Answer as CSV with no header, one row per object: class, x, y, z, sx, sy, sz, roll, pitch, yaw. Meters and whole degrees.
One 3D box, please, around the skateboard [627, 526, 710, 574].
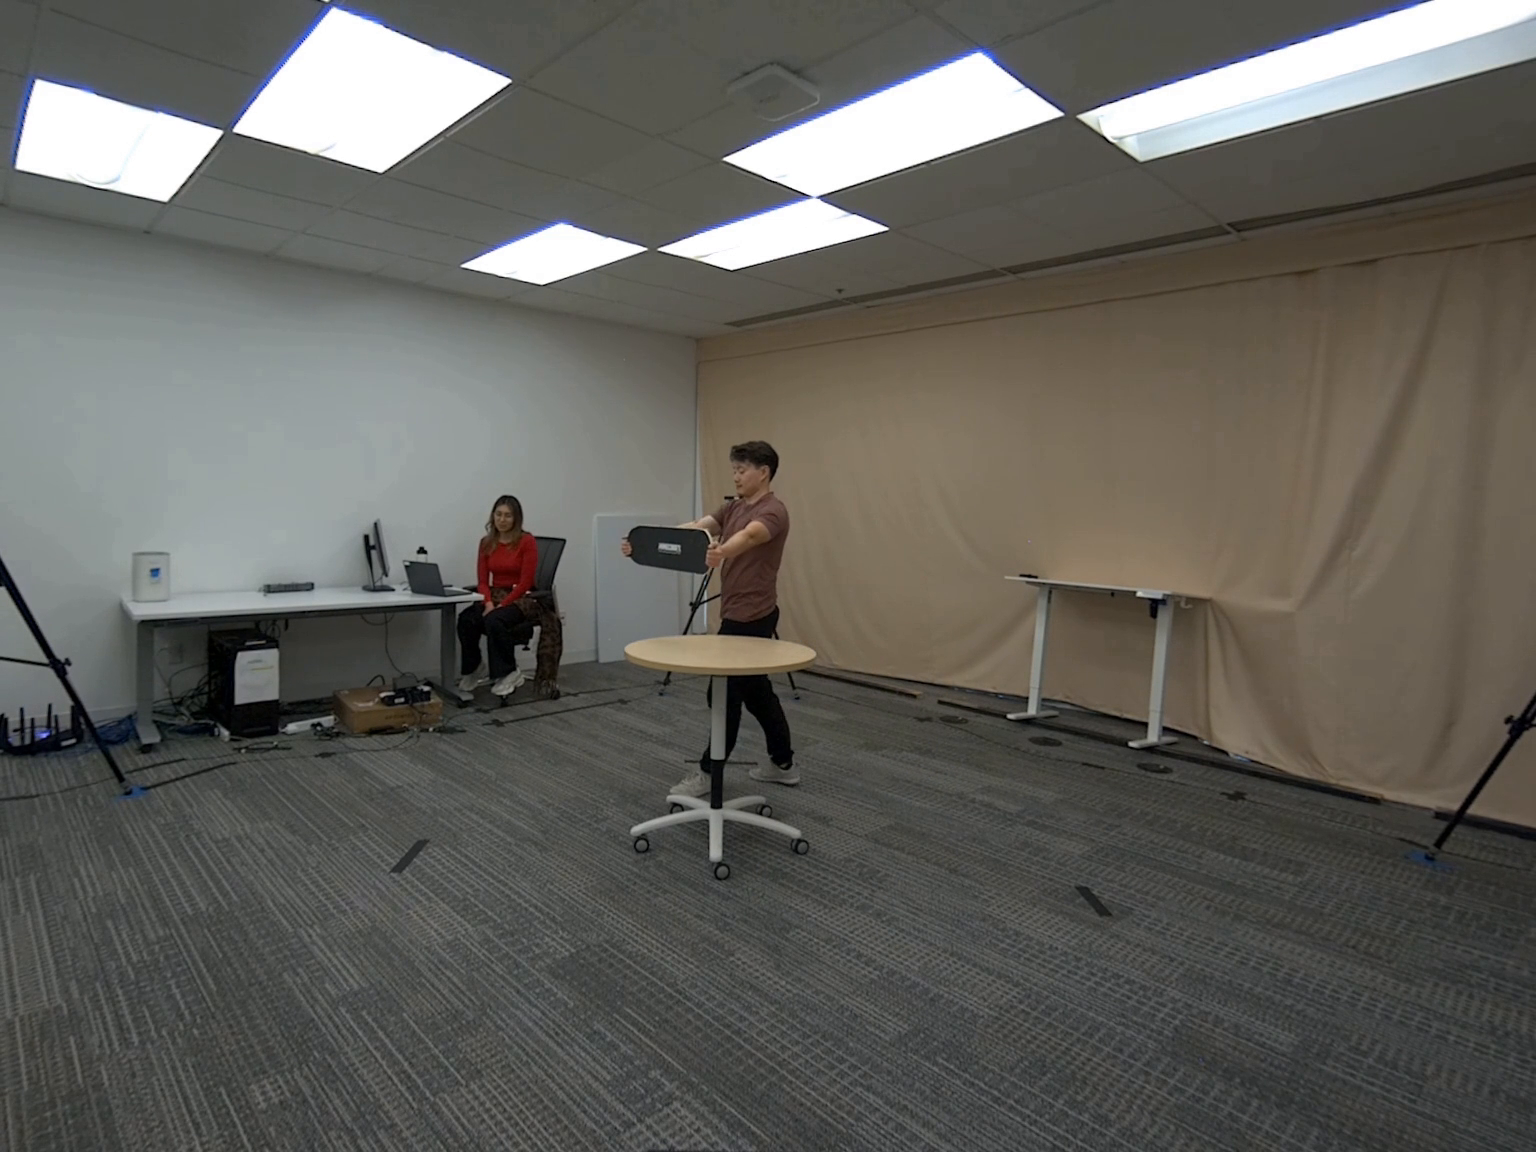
skateboard,-0.428,-0.136,3.762,0.108,0.193,0.804,0,5,-34
